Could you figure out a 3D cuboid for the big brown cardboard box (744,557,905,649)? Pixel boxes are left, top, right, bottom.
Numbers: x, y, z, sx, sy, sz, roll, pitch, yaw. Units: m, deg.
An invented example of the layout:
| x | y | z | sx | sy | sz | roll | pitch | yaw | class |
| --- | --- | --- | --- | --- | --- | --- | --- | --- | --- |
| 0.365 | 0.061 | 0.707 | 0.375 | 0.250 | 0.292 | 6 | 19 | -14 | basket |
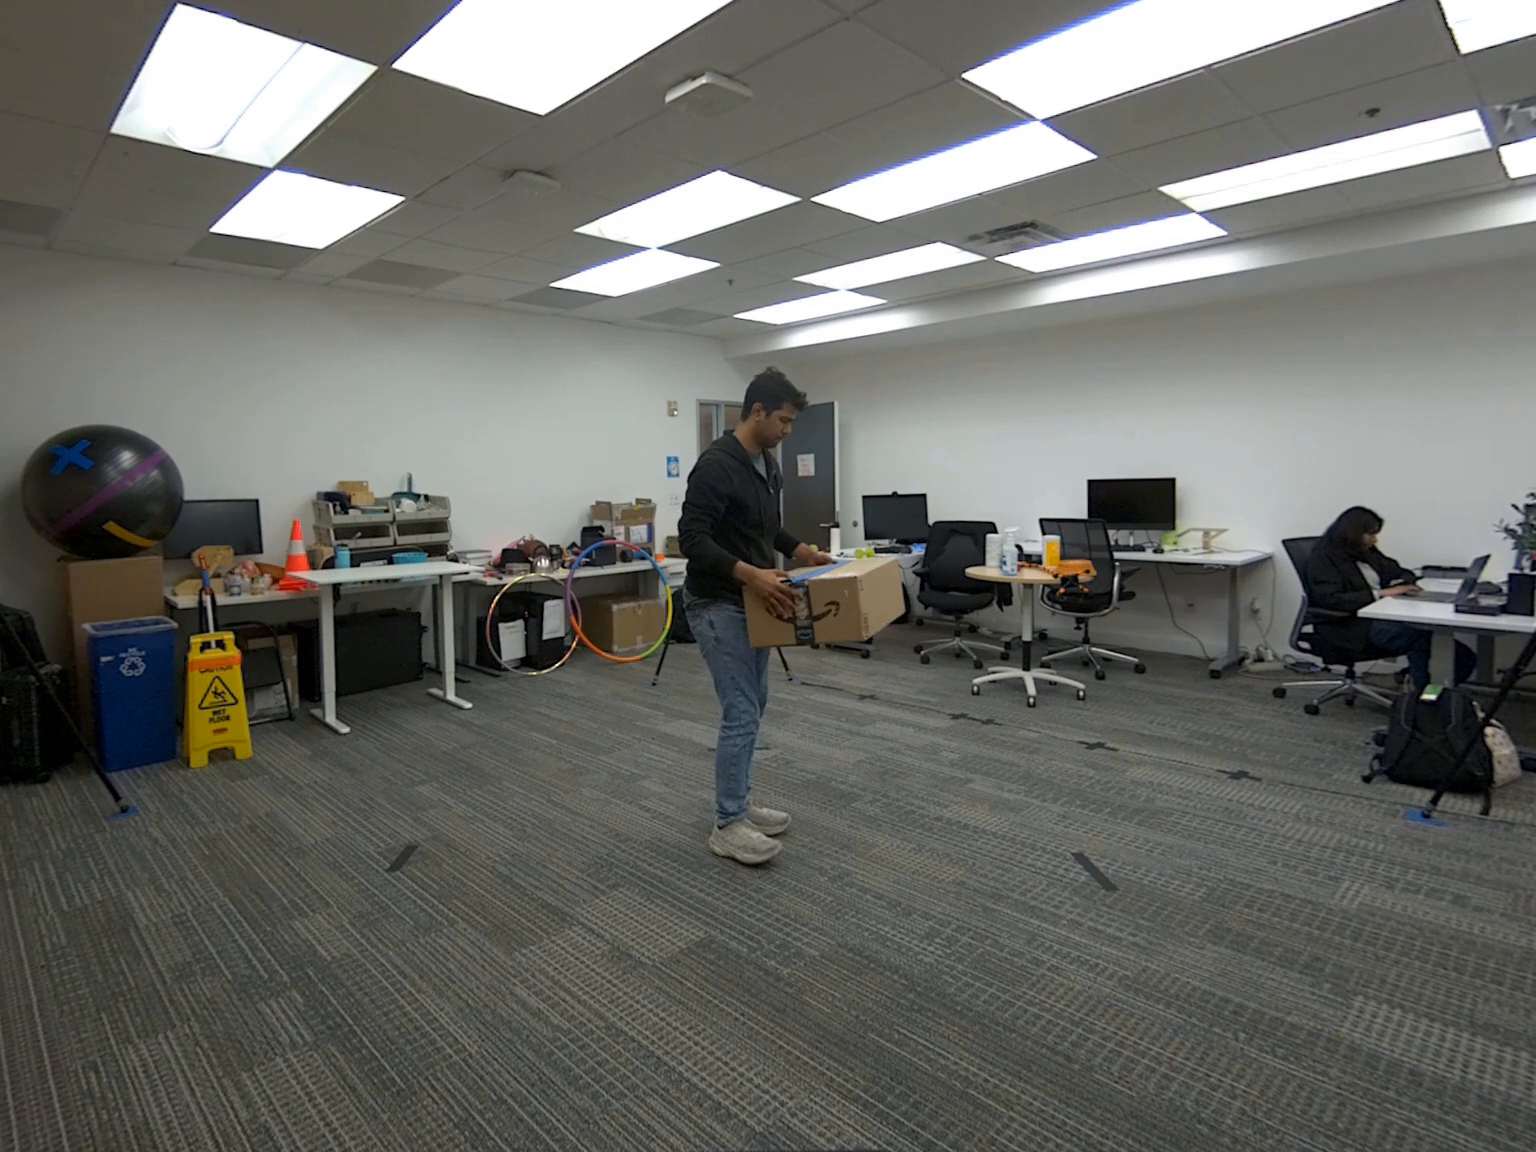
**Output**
| x | y | z | sx | sy | sz | roll | pitch | yaw | class |
| --- | --- | --- | --- | --- | --- | --- | --- | --- | --- |
| 0.212 | 0.085 | 3.101 | 0.426 | 0.233 | 0.578 | -6 | 4 | 25 | big brown cardboard box |
